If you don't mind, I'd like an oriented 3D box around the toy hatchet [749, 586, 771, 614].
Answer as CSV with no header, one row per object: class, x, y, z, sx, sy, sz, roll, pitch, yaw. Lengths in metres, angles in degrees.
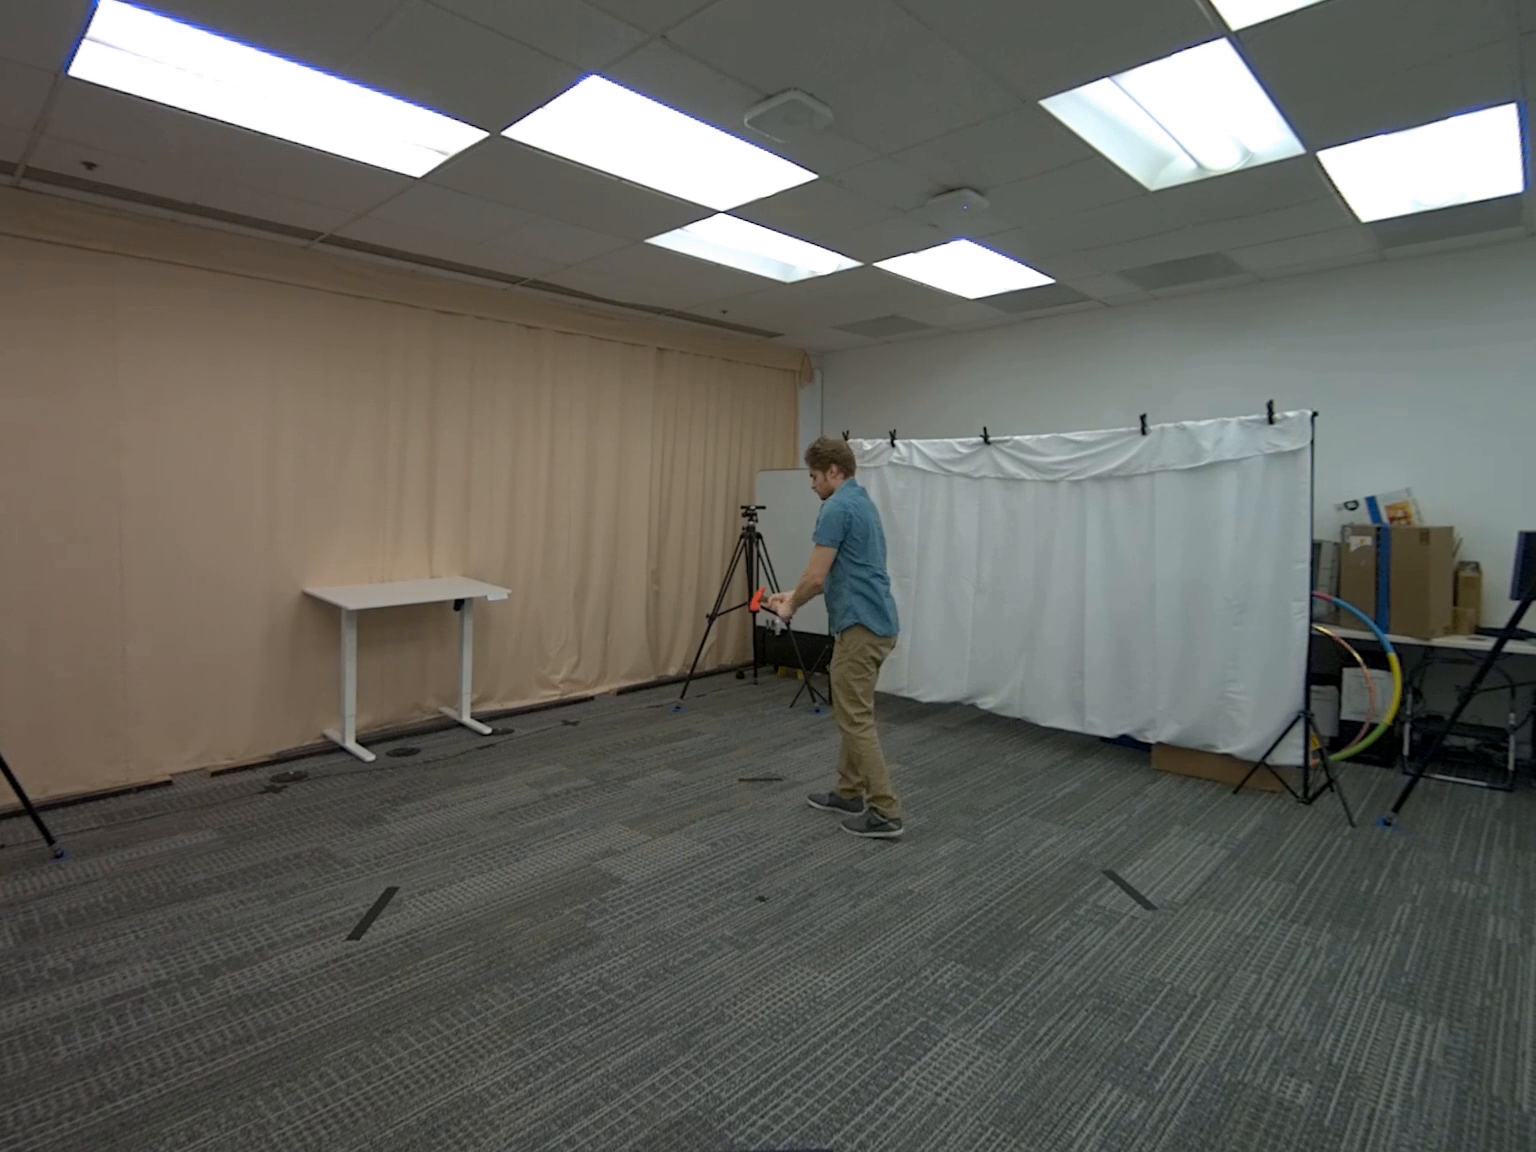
toy hatchet,-0.014,0.113,3.911,0.029,0.131,0.273,40,8,-12
